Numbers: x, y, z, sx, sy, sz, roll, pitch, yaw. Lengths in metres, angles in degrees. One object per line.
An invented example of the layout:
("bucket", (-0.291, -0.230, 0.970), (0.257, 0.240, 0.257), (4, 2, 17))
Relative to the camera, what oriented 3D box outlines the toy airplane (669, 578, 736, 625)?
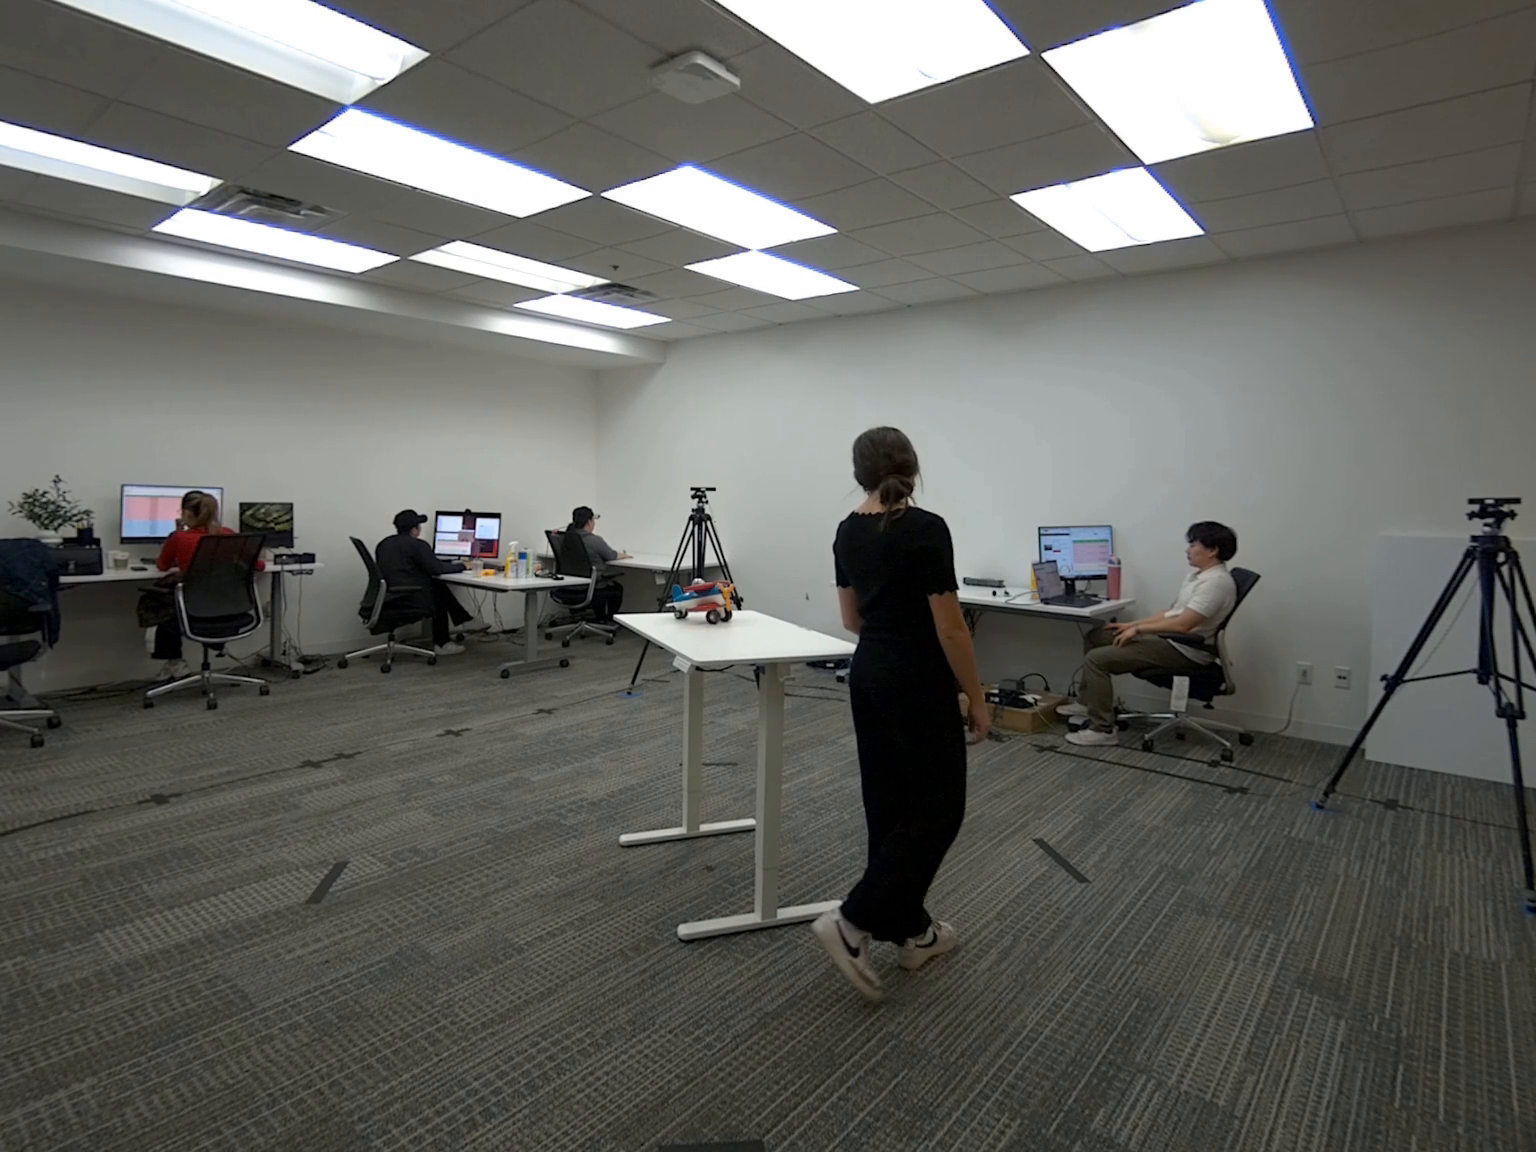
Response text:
("toy airplane", (-0.275, 0.094, 3.246), (0.260, 0.156, 0.251), (2, 4, 2))
